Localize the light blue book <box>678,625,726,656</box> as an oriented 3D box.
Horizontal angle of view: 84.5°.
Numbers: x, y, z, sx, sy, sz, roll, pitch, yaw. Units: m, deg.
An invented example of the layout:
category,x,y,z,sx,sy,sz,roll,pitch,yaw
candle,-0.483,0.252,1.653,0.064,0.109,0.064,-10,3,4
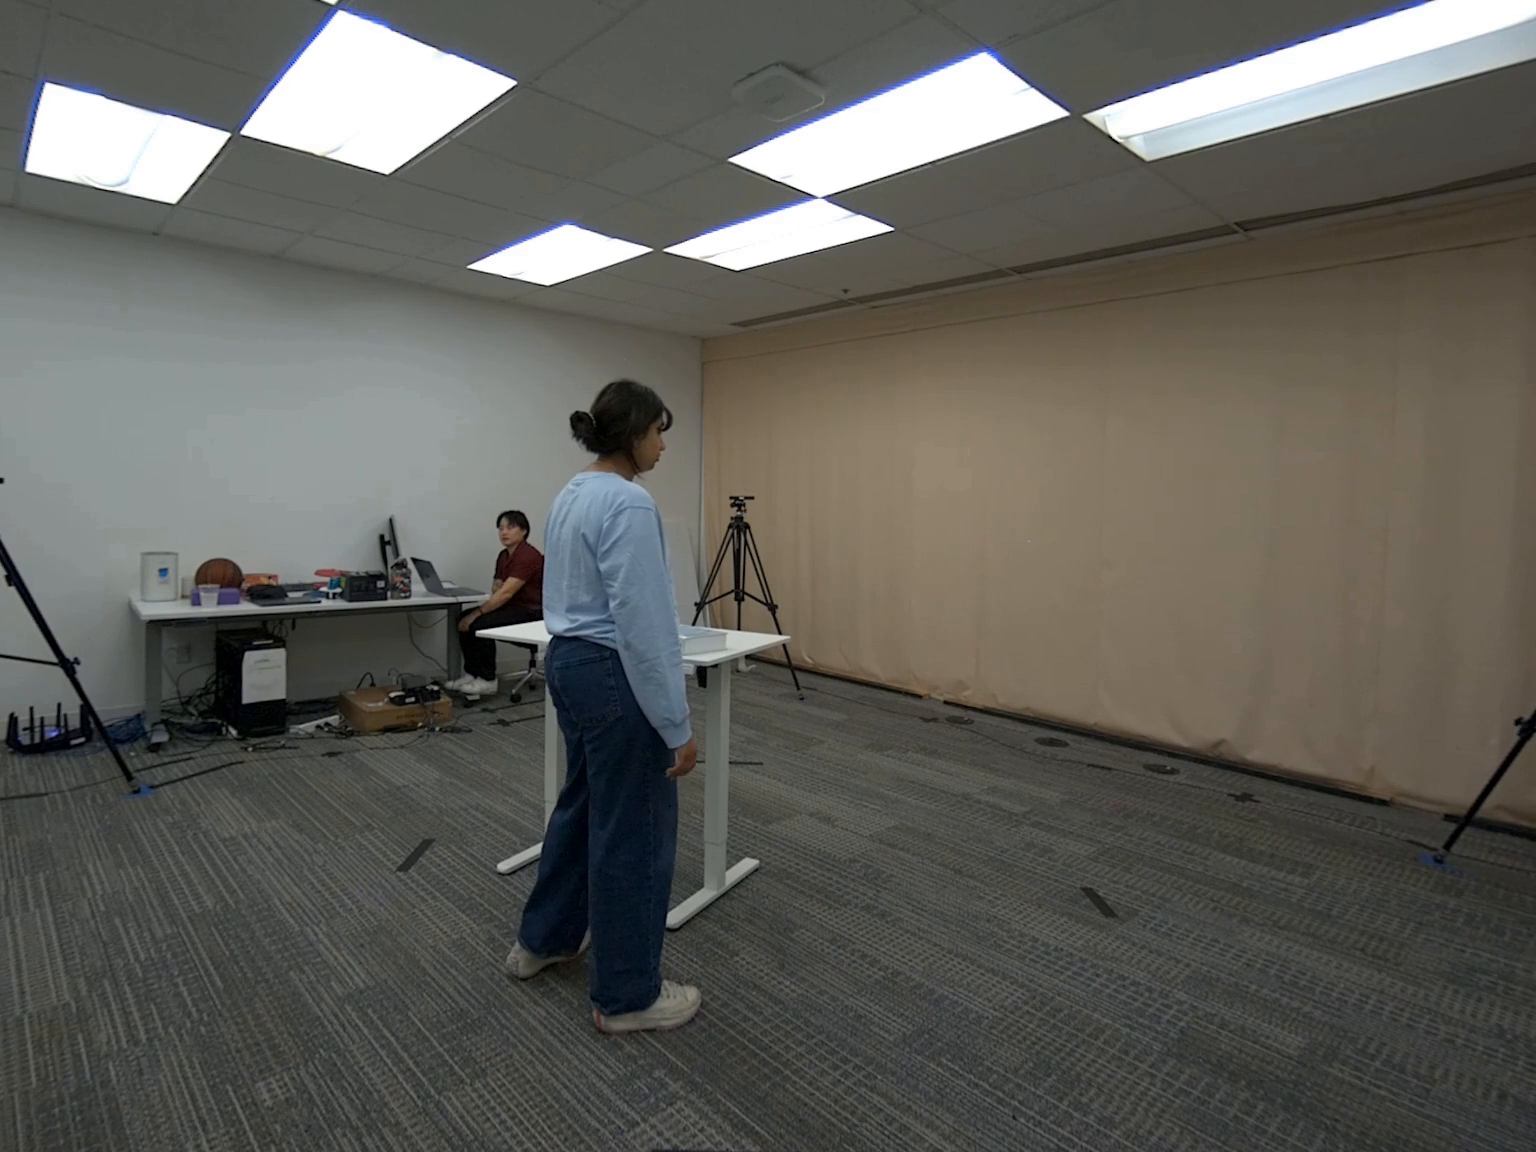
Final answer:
category,x,y,z,sx,sy,sz,roll,pitch,yaw
light blue book,-0.303,0.214,2.833,0.187,0.059,0.268,-4,7,-44
